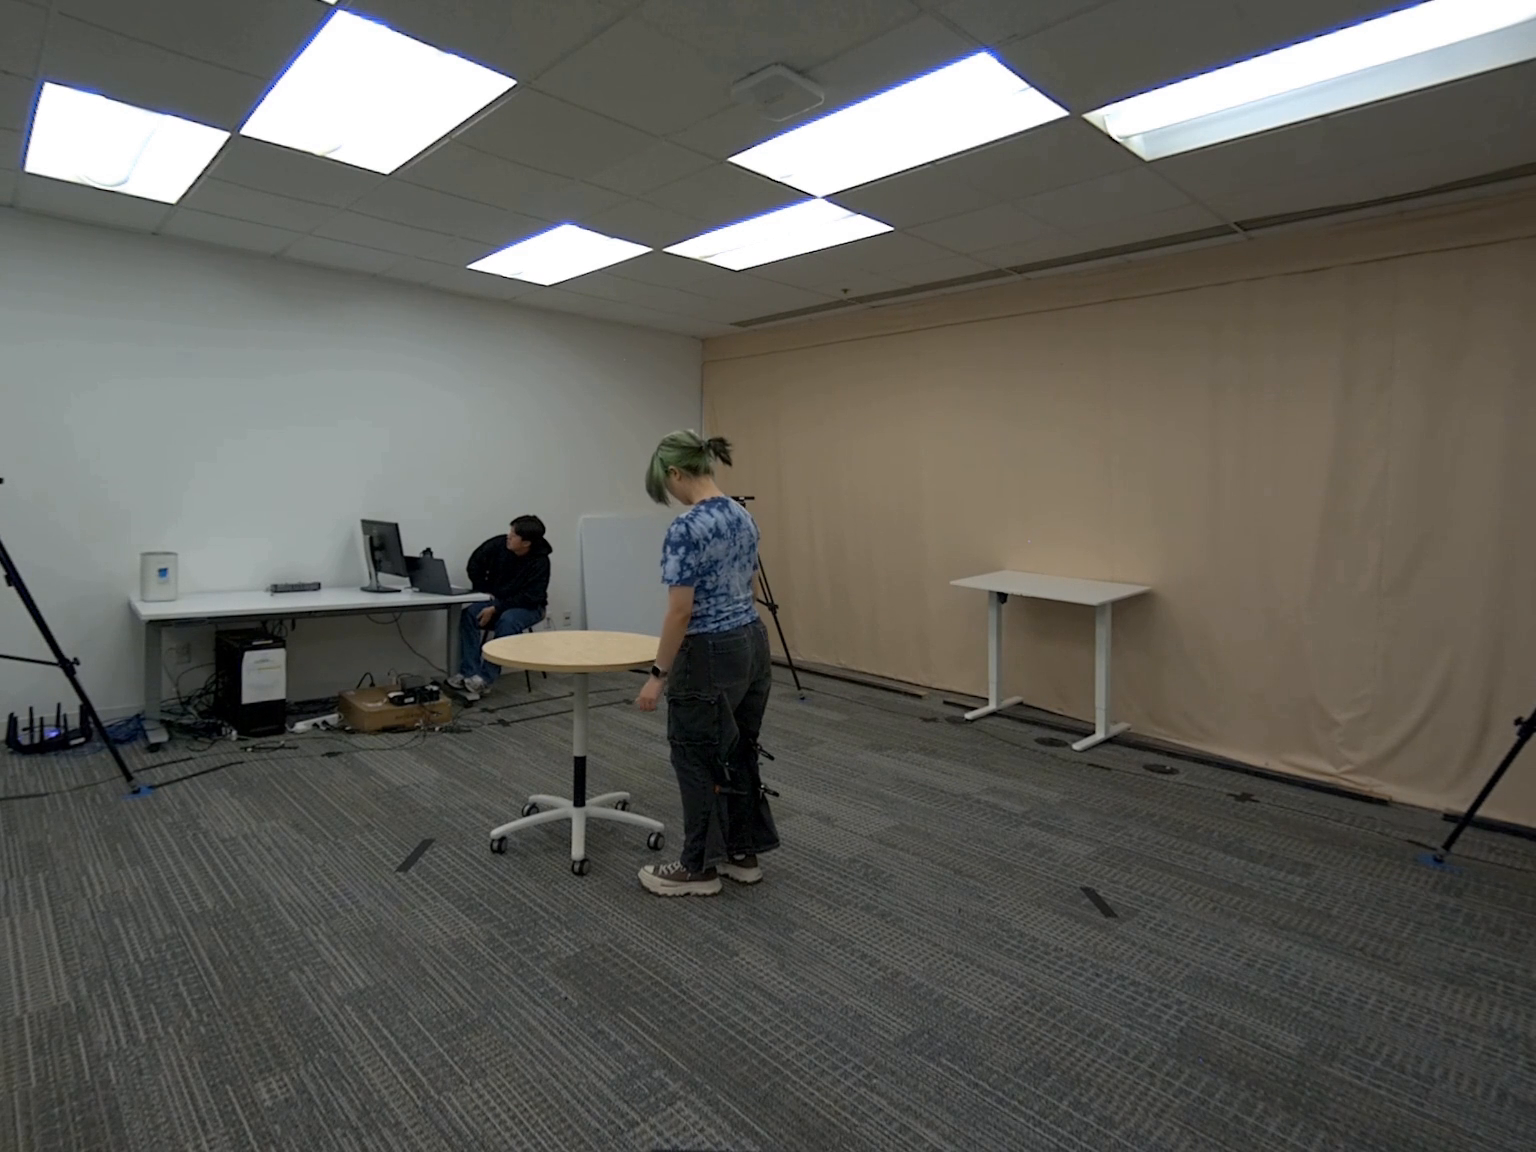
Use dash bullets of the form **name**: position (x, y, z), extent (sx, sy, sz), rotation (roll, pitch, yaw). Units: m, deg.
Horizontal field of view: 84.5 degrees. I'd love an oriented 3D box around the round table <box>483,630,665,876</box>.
- **round table**: position (-0.762, 0.677, 3.382), extent (0.763, 0.792, 0.766), rotation (2, 3, -1)
